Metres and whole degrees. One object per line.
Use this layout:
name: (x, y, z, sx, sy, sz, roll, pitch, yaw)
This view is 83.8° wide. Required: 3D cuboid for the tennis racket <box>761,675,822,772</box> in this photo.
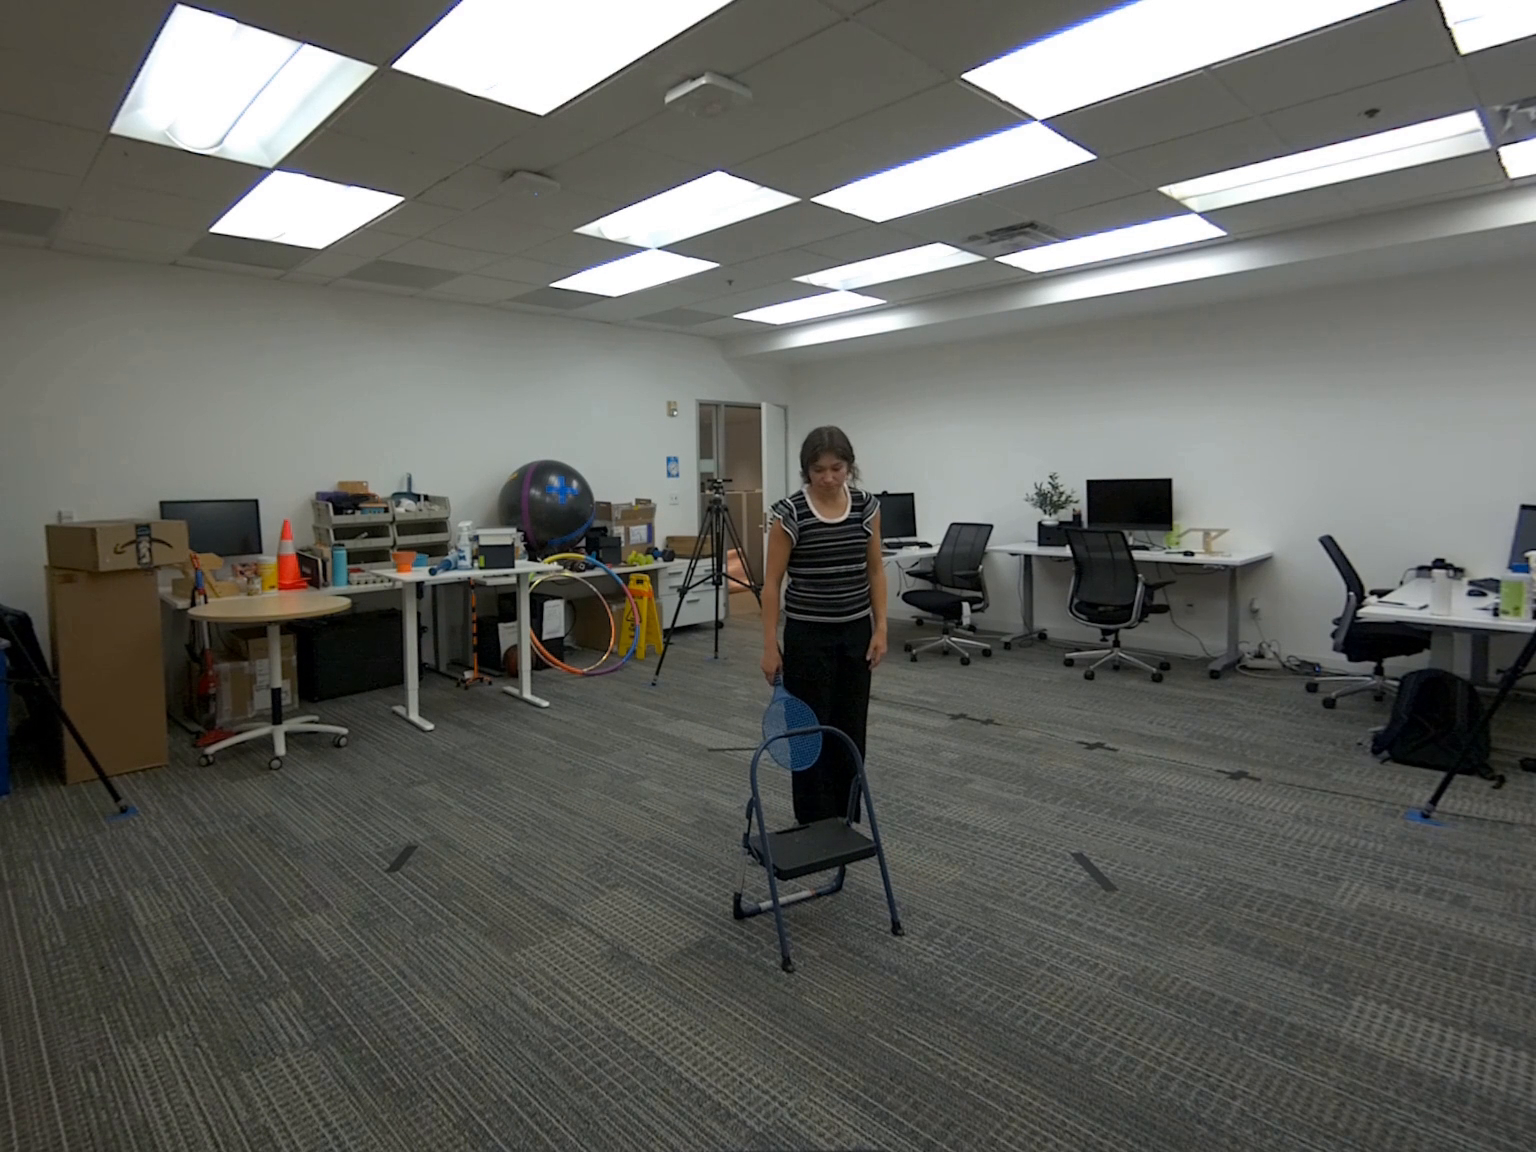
tennis racket: (0.074, 0.486, 3.119, 0.211, 0.440, 0.031, -6, -15, -14)
